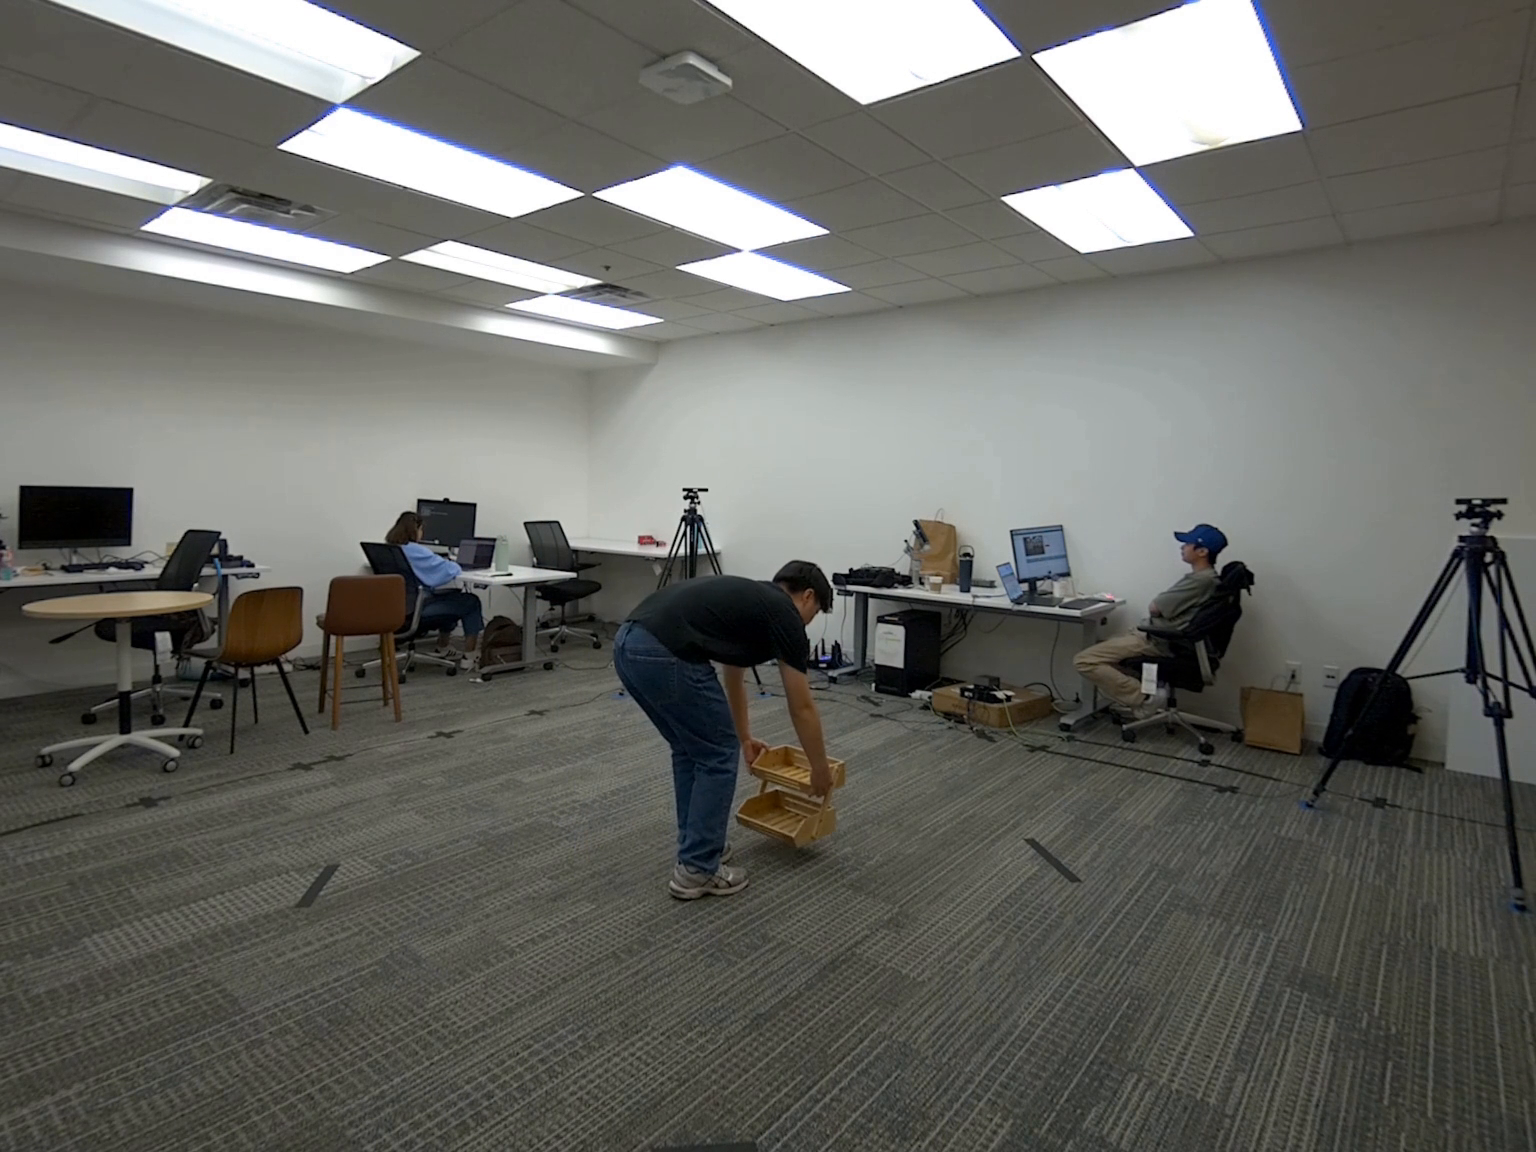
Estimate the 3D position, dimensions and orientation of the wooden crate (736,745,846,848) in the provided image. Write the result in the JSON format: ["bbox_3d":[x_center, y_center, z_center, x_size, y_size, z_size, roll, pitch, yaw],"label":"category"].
[{"bbox_3d":[0.070,0.843,3.302,0.336,0.272,0.293,5,6,43],"label":"wooden crate"}]
